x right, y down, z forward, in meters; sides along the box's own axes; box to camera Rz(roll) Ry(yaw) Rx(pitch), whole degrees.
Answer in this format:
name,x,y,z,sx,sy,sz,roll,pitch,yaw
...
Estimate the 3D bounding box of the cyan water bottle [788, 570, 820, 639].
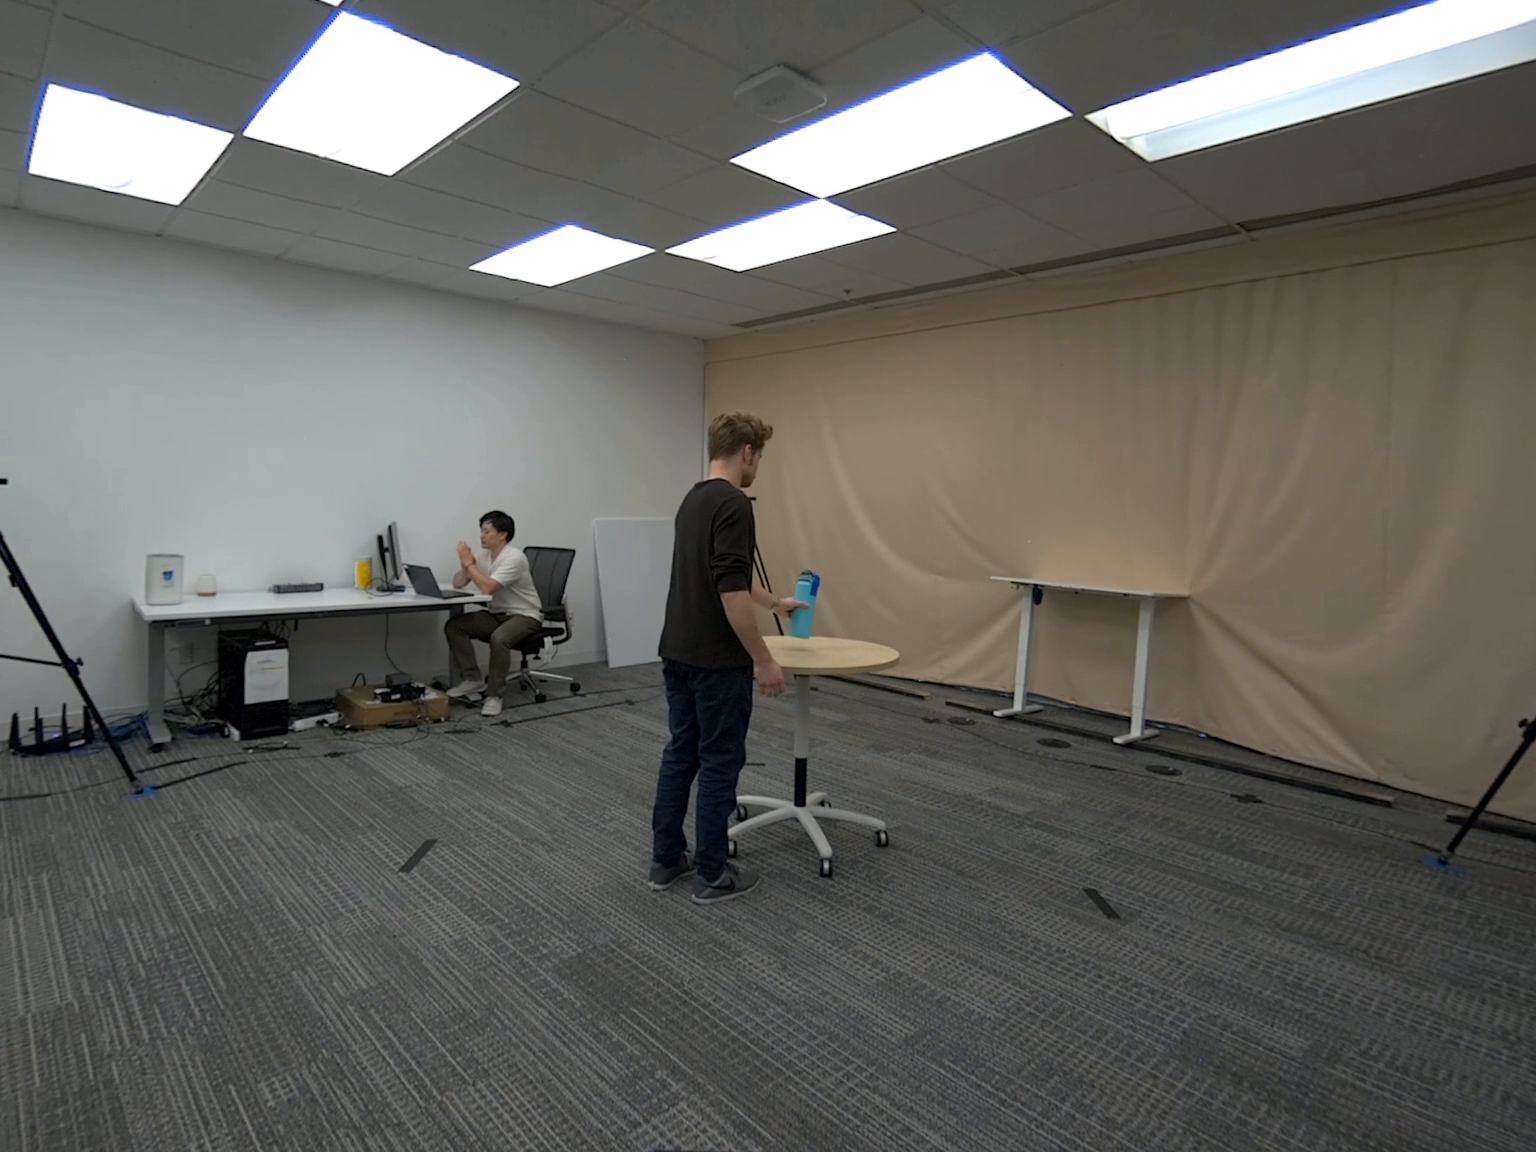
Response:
name,x,y,z,sx,sy,sz,roll,pitch,yaw
cyan water bottle,0.142,0.113,3.459,0.092,0.285,0.092,11,-9,0
